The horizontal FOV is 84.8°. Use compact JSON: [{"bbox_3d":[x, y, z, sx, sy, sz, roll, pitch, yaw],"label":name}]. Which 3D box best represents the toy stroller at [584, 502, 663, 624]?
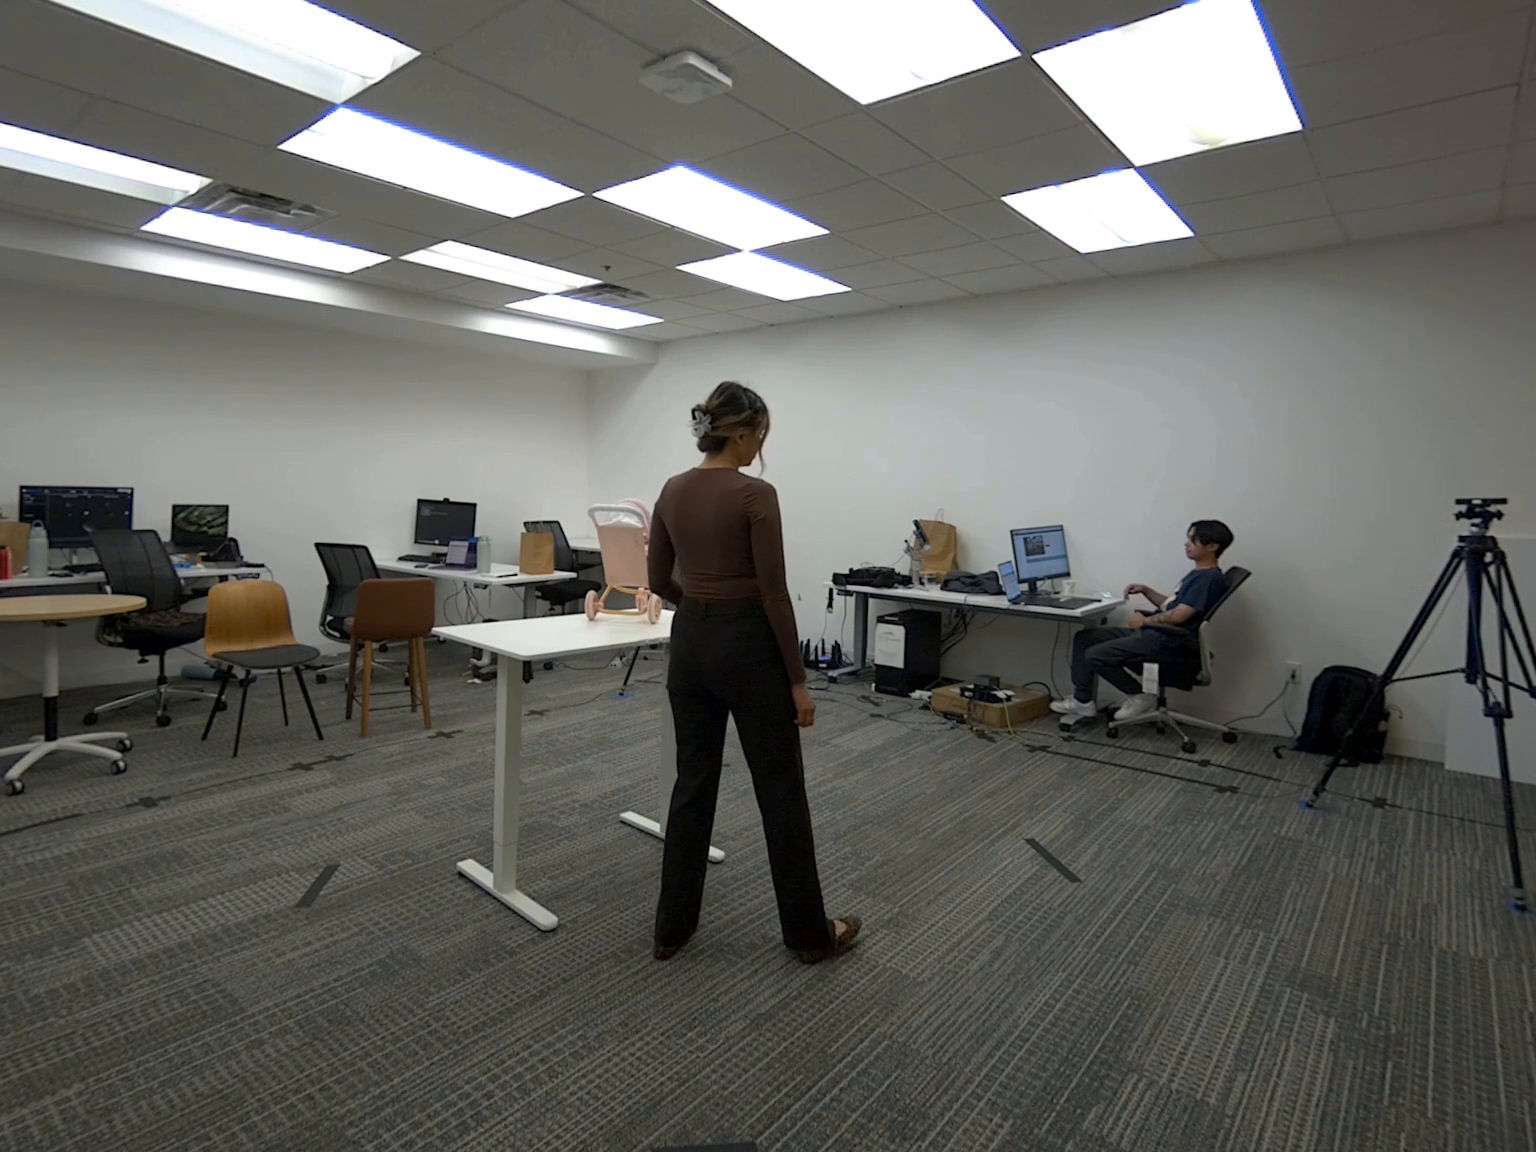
[{"bbox_3d":[-0.547,-0.060,3.288,0.286,0.526,0.342,3,18,13],"label":"toy stroller"}]
